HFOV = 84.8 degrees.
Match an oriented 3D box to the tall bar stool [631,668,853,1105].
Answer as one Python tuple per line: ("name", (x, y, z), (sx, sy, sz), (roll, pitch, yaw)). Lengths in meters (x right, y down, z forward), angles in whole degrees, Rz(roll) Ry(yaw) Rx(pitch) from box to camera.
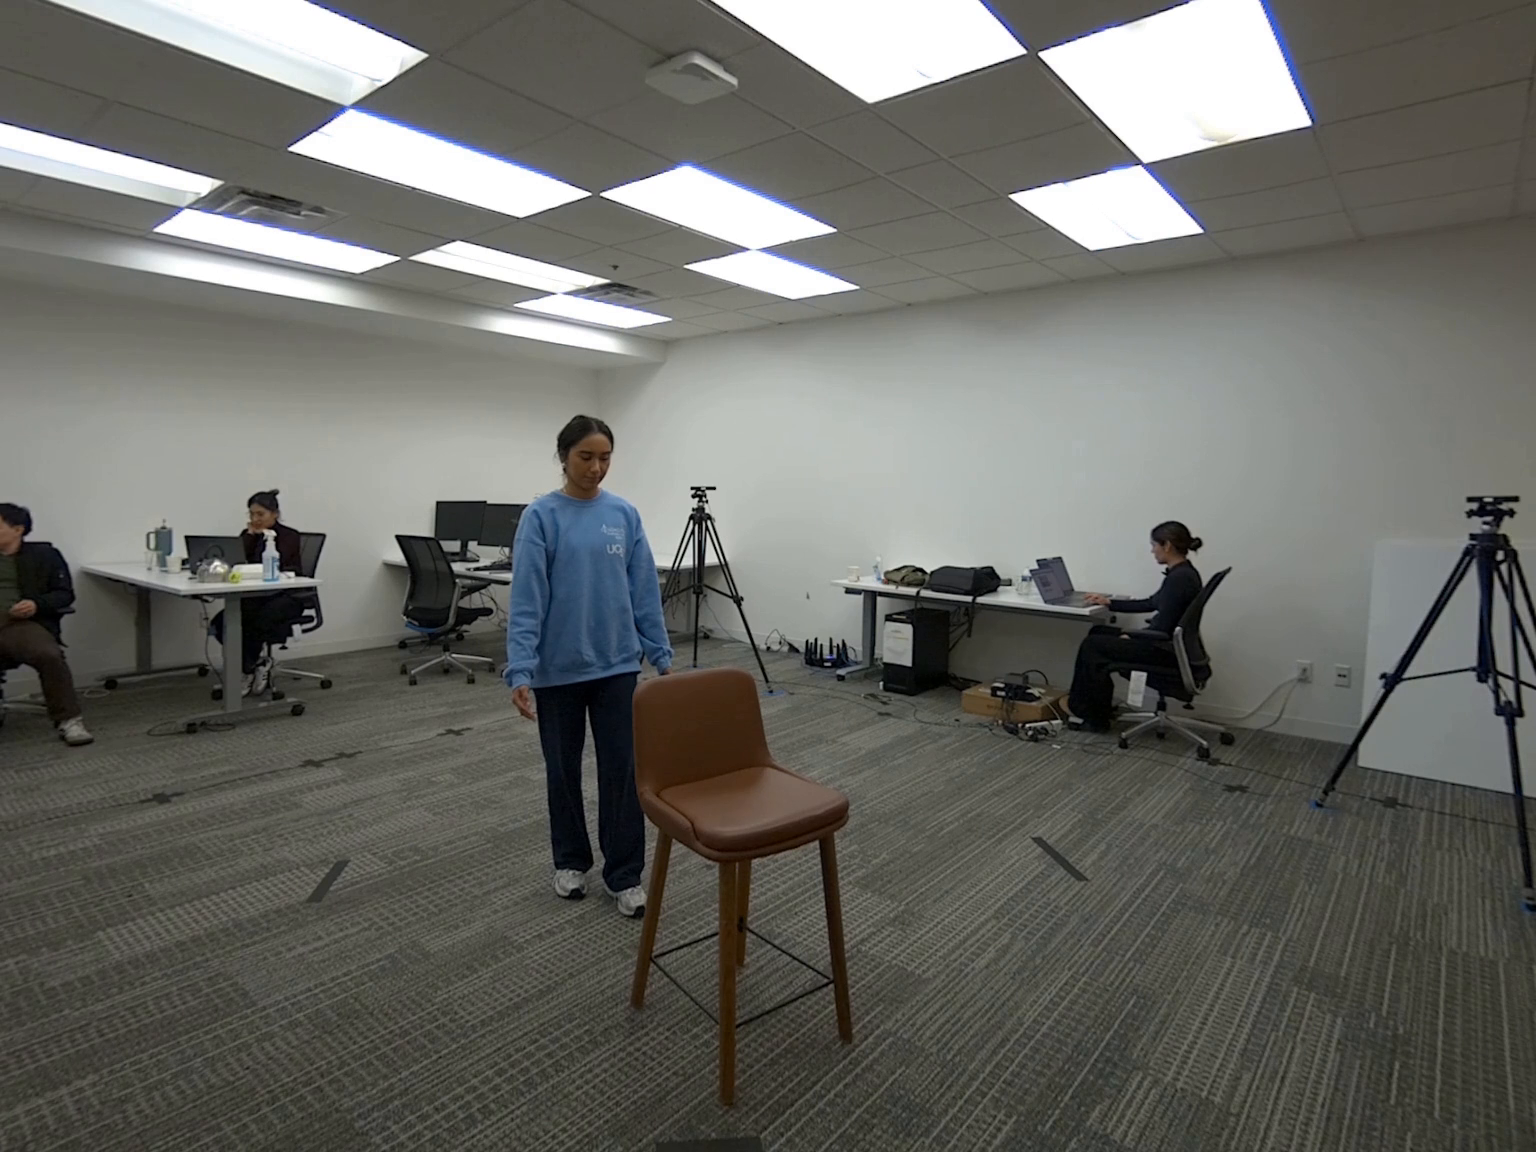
("tall bar stool", (-0.082, 0.718, 2.199), (0.443, 0.889, 0.482), (-1, 2, -38))
